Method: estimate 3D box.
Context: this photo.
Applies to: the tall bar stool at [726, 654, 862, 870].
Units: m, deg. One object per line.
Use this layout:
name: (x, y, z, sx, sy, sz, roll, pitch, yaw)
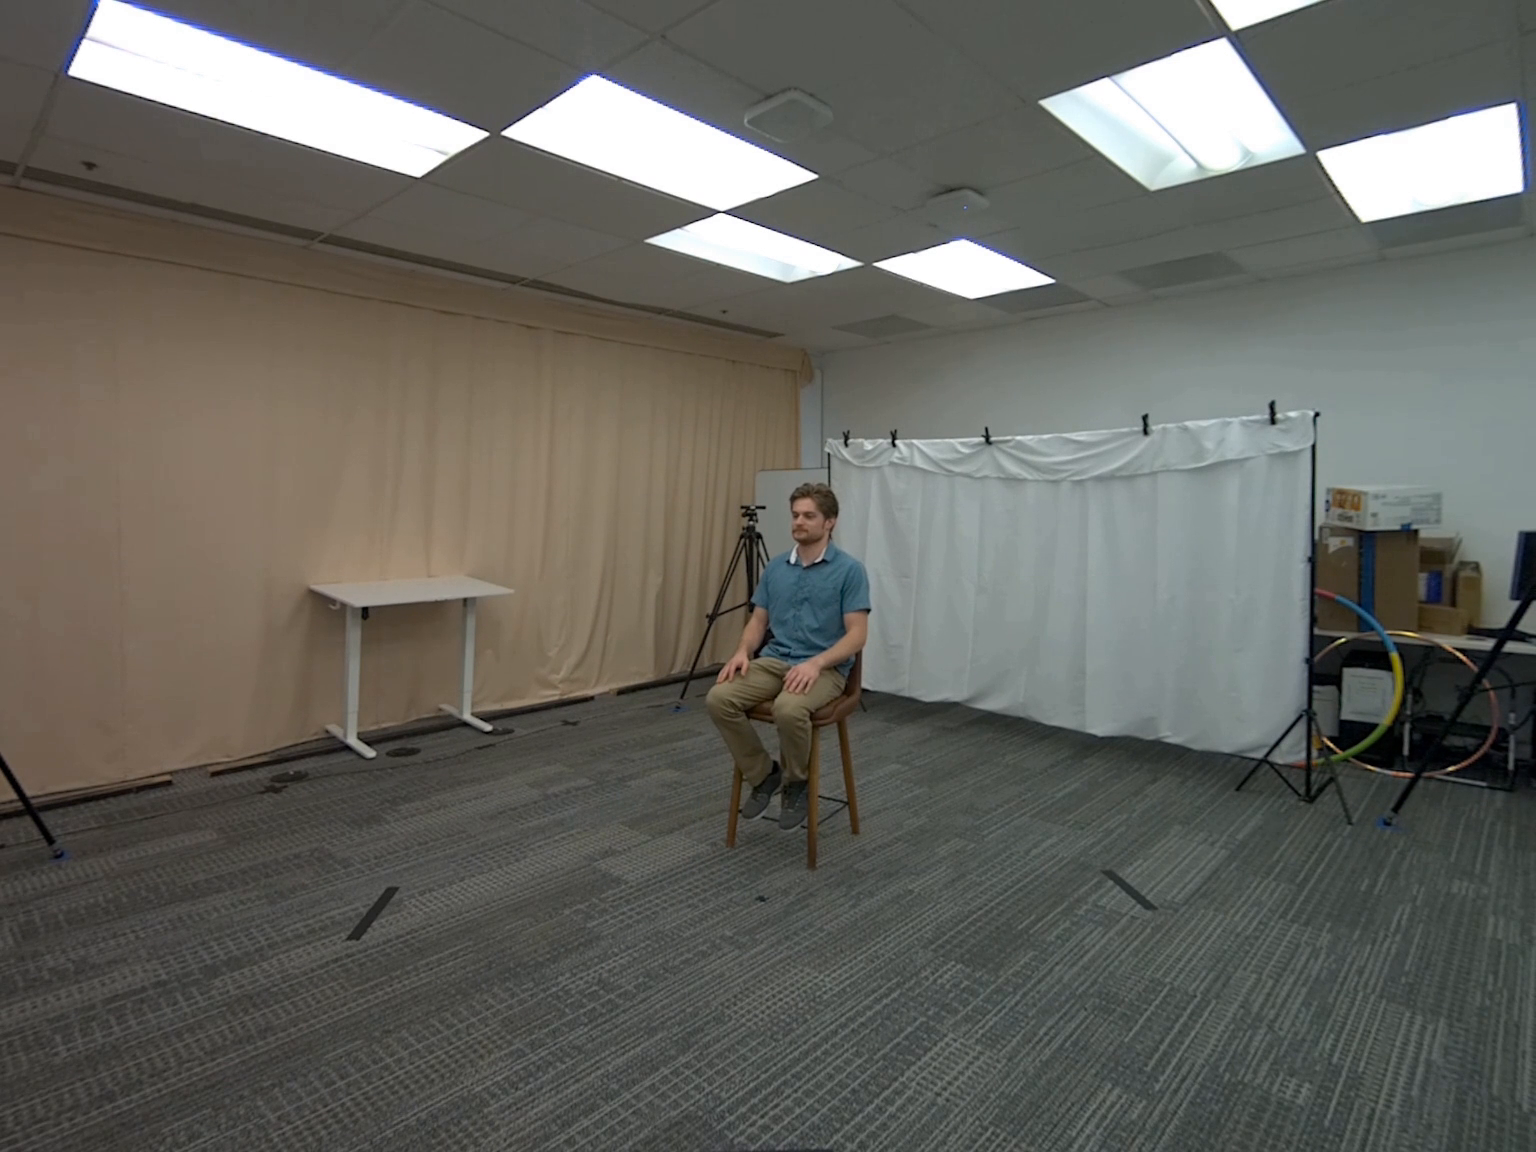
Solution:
tall bar stool: (0.129, 0.663, 3.495, 0.471, 0.889, 0.454, 3, 2, 34)
